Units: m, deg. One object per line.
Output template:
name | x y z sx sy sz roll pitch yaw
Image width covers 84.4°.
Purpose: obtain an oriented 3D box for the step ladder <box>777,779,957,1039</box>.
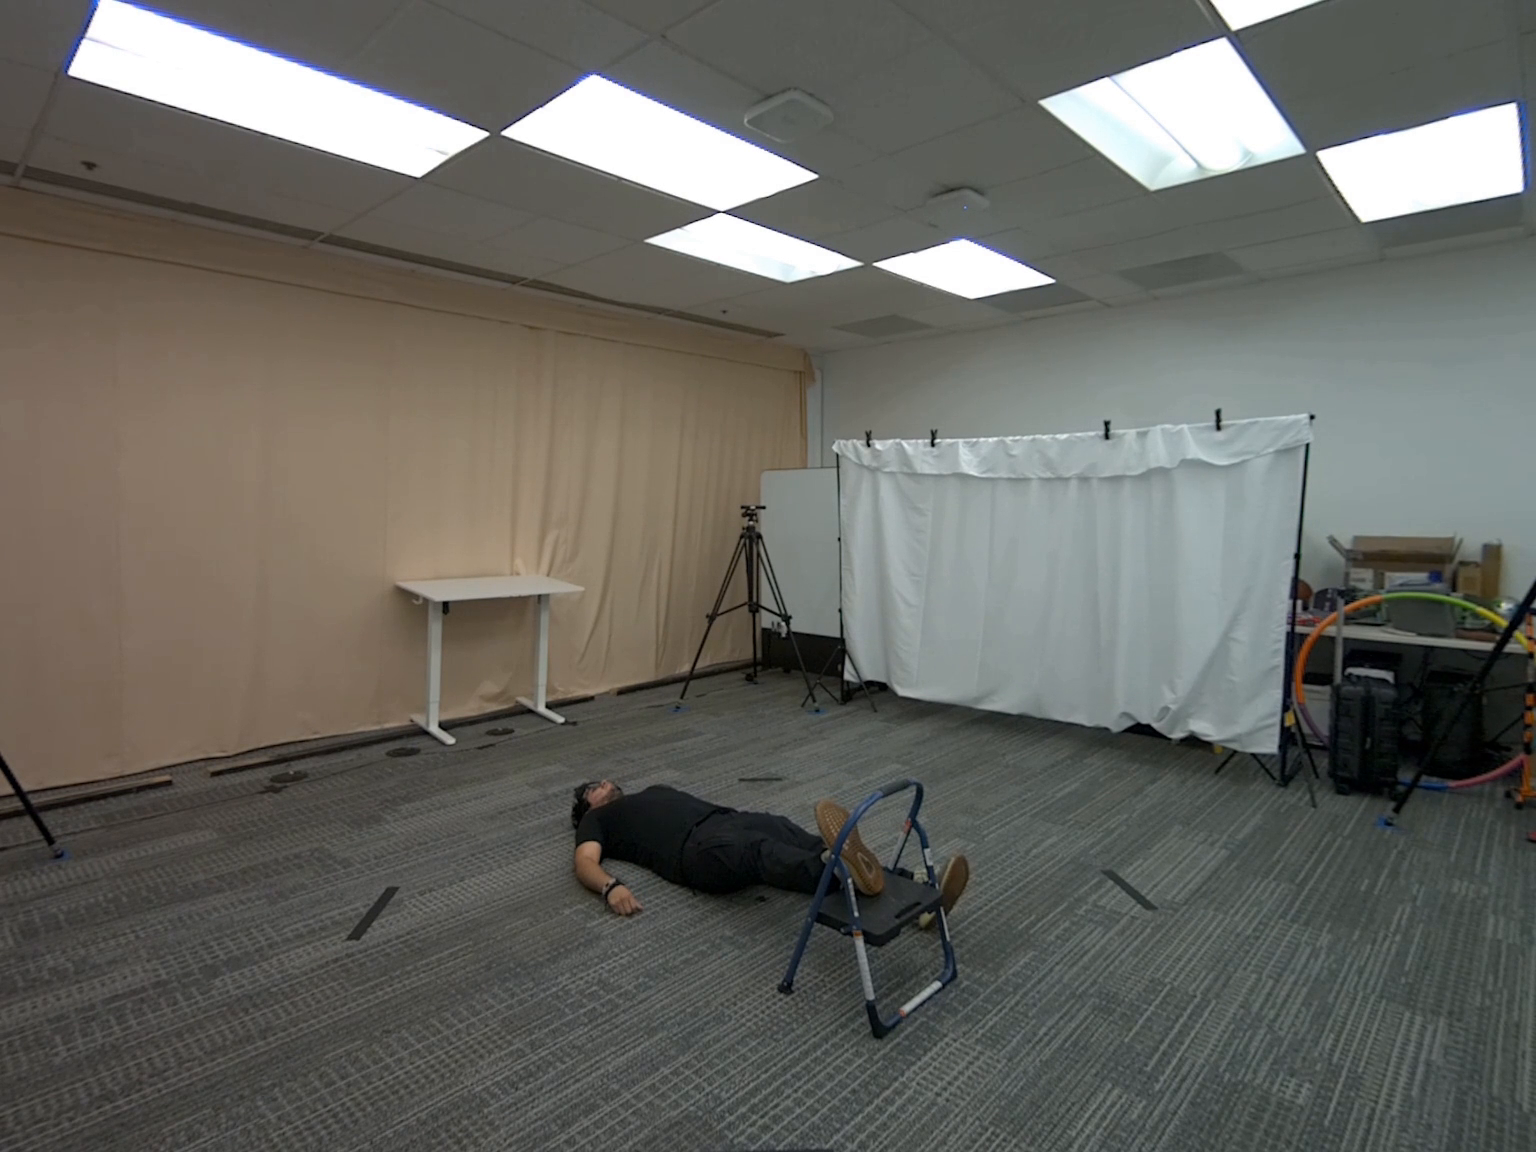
step ladder | 0.302 0.886 2.433 0.361 0.604 0.417 4 6 42
